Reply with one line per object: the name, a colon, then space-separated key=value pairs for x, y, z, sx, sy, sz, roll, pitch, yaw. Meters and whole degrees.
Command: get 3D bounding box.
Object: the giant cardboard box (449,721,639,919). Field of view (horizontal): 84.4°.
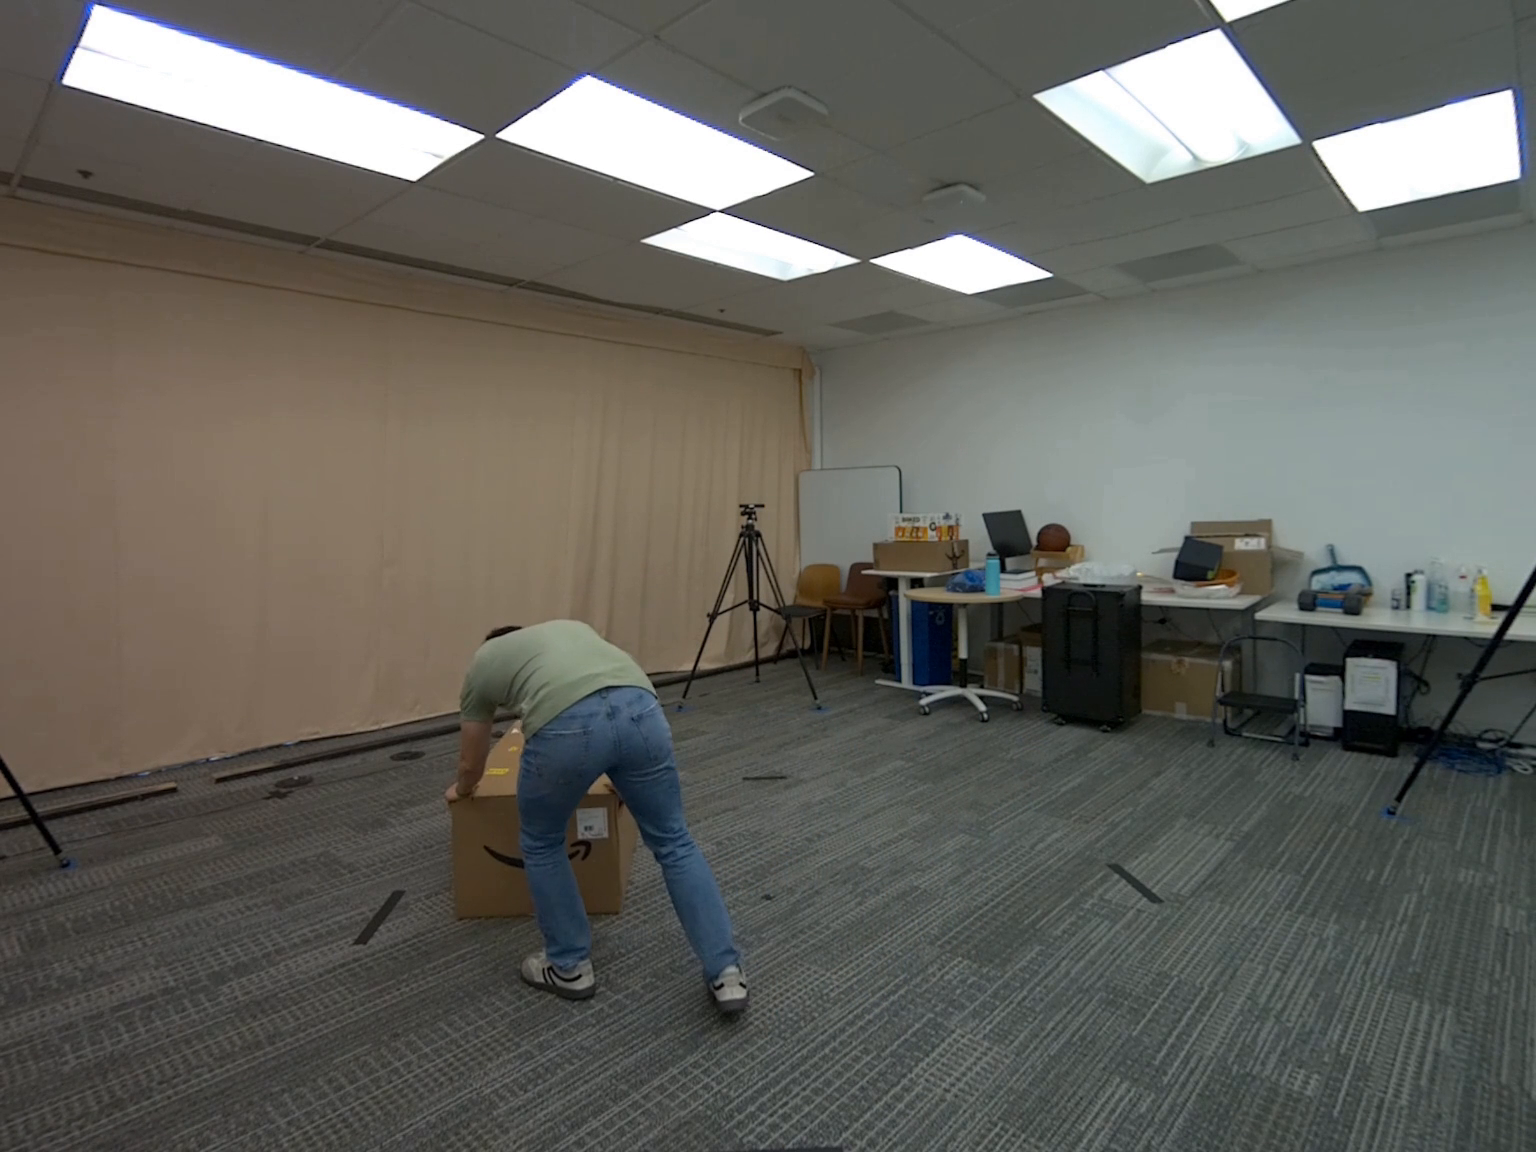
giant cardboard box: x=-0.841 y=0.906 z=3.377 sx=0.575 sy=0.425 sz=1.033 roll=-2 pitch=5 yaw=-5
